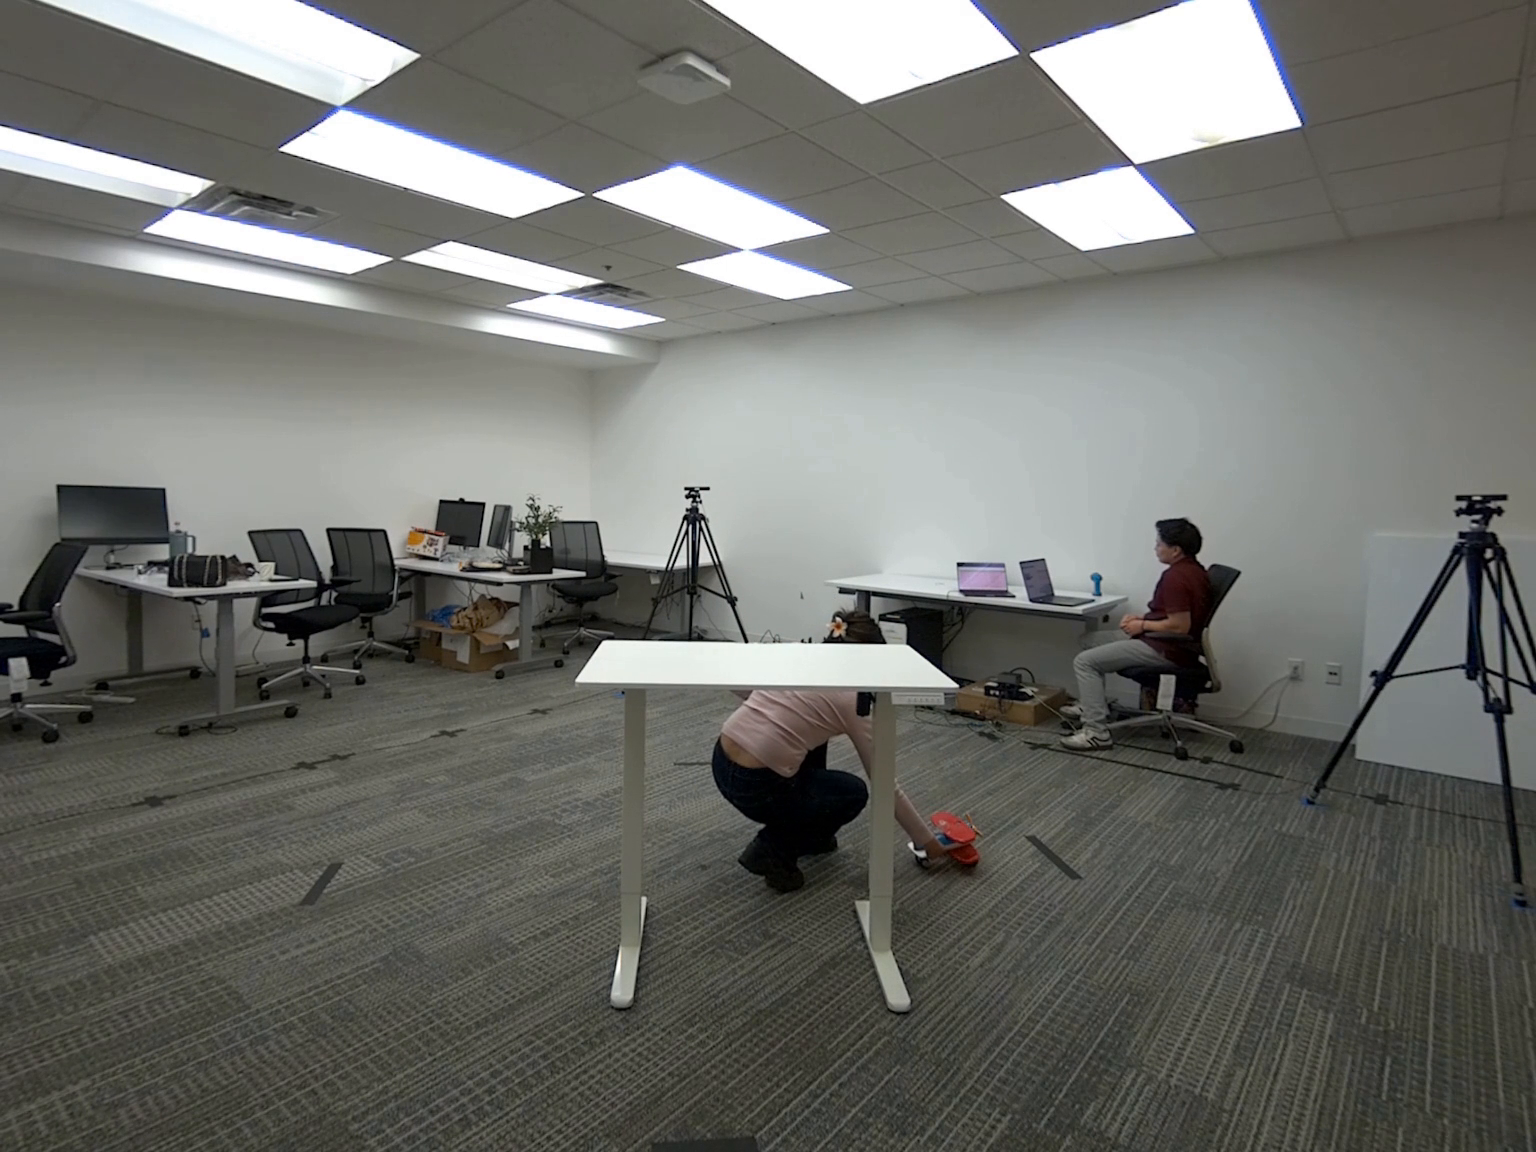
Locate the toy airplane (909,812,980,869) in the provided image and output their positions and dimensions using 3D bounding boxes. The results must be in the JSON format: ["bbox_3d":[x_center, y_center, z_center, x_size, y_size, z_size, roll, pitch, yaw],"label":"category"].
[{"bbox_3d":[0.662,1.004,3.175,0.251,0.156,0.260,-3,8,-40],"label":"toy airplane"}]
